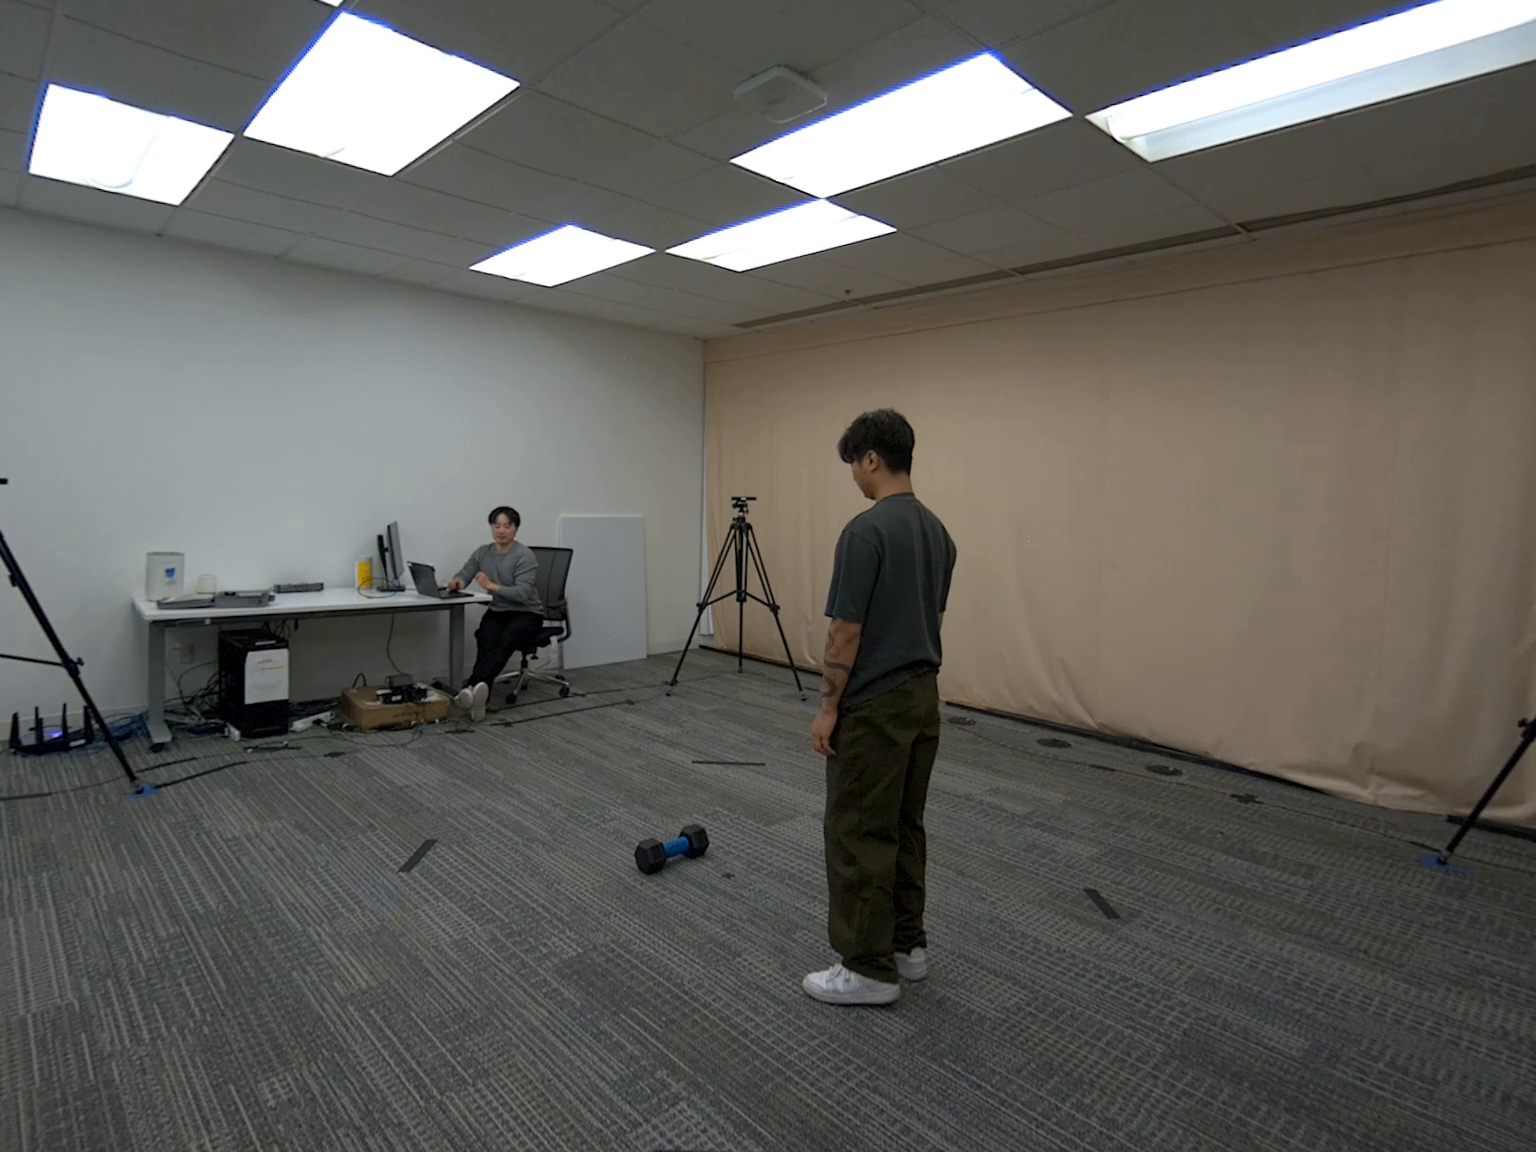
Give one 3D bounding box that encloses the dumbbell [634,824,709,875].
[{"bbox_3d":[-0.371,1.038,3.204,0.287,0.125,0.109,-4,-24,-45],"label":"dumbbell"}]
